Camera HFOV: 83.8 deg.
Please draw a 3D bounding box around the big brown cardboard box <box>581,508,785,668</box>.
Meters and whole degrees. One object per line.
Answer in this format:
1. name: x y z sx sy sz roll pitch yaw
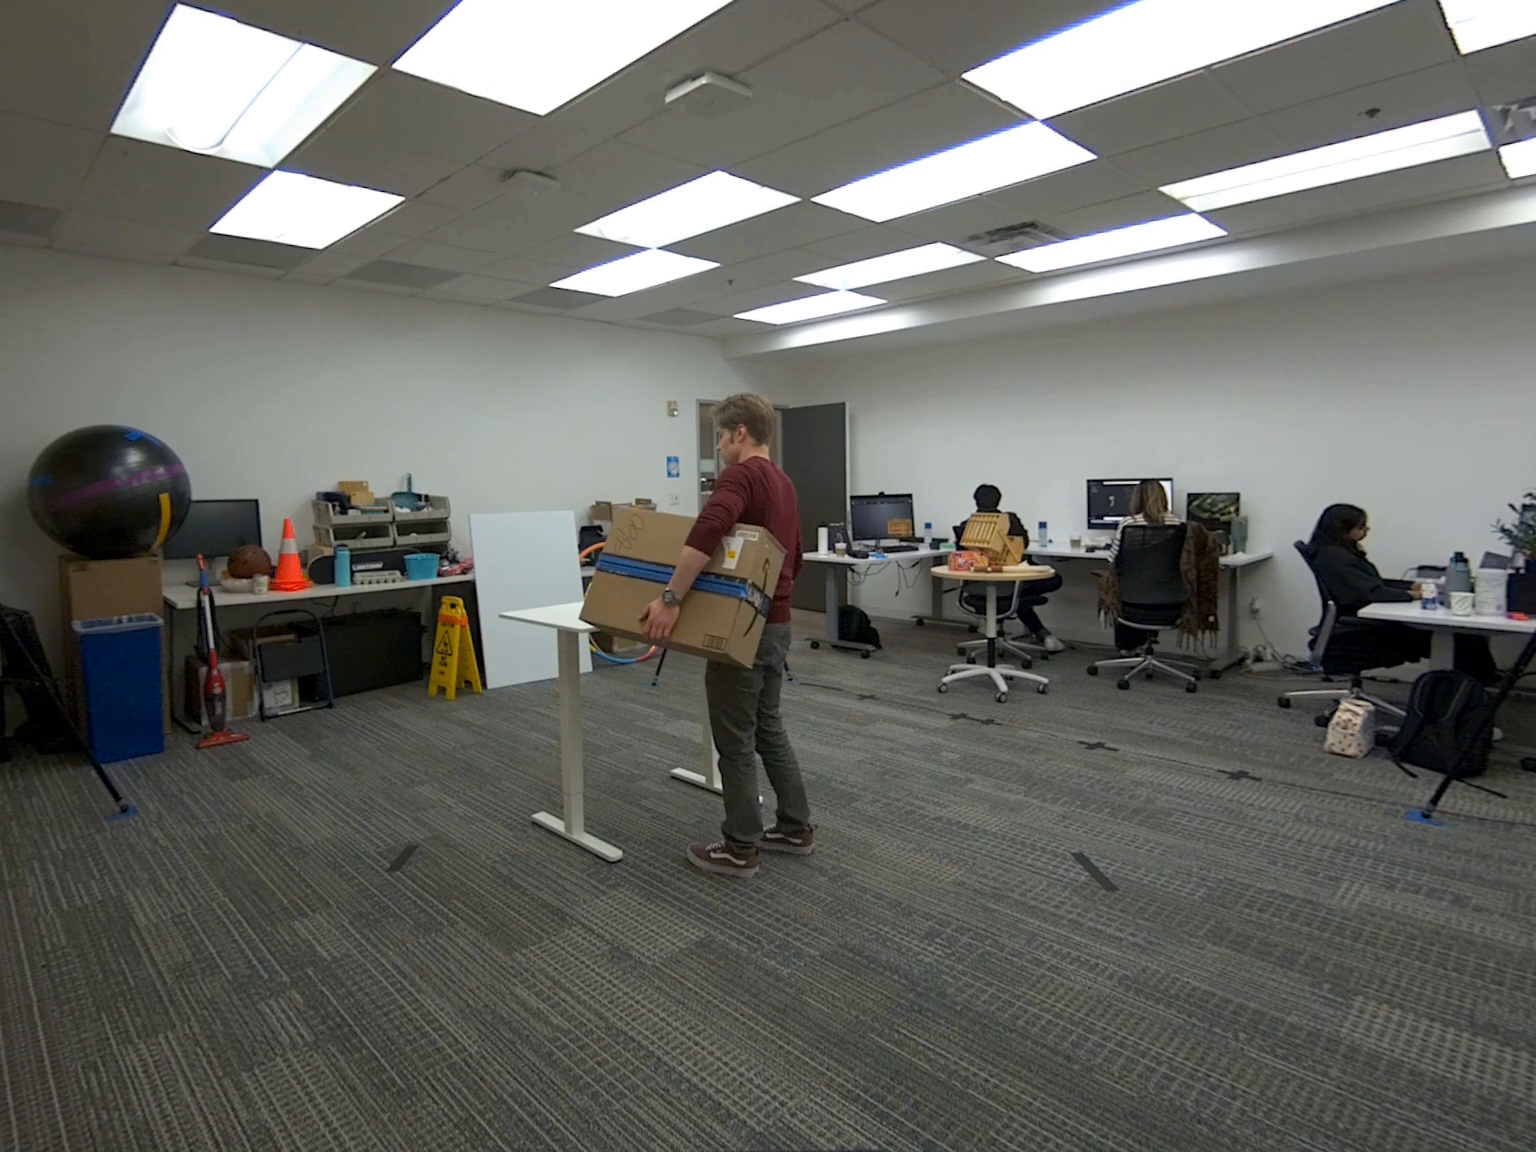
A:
1. big brown cardboard box: -0.274 0.029 2.843 0.605 0.421 0.225 9 -16 28
